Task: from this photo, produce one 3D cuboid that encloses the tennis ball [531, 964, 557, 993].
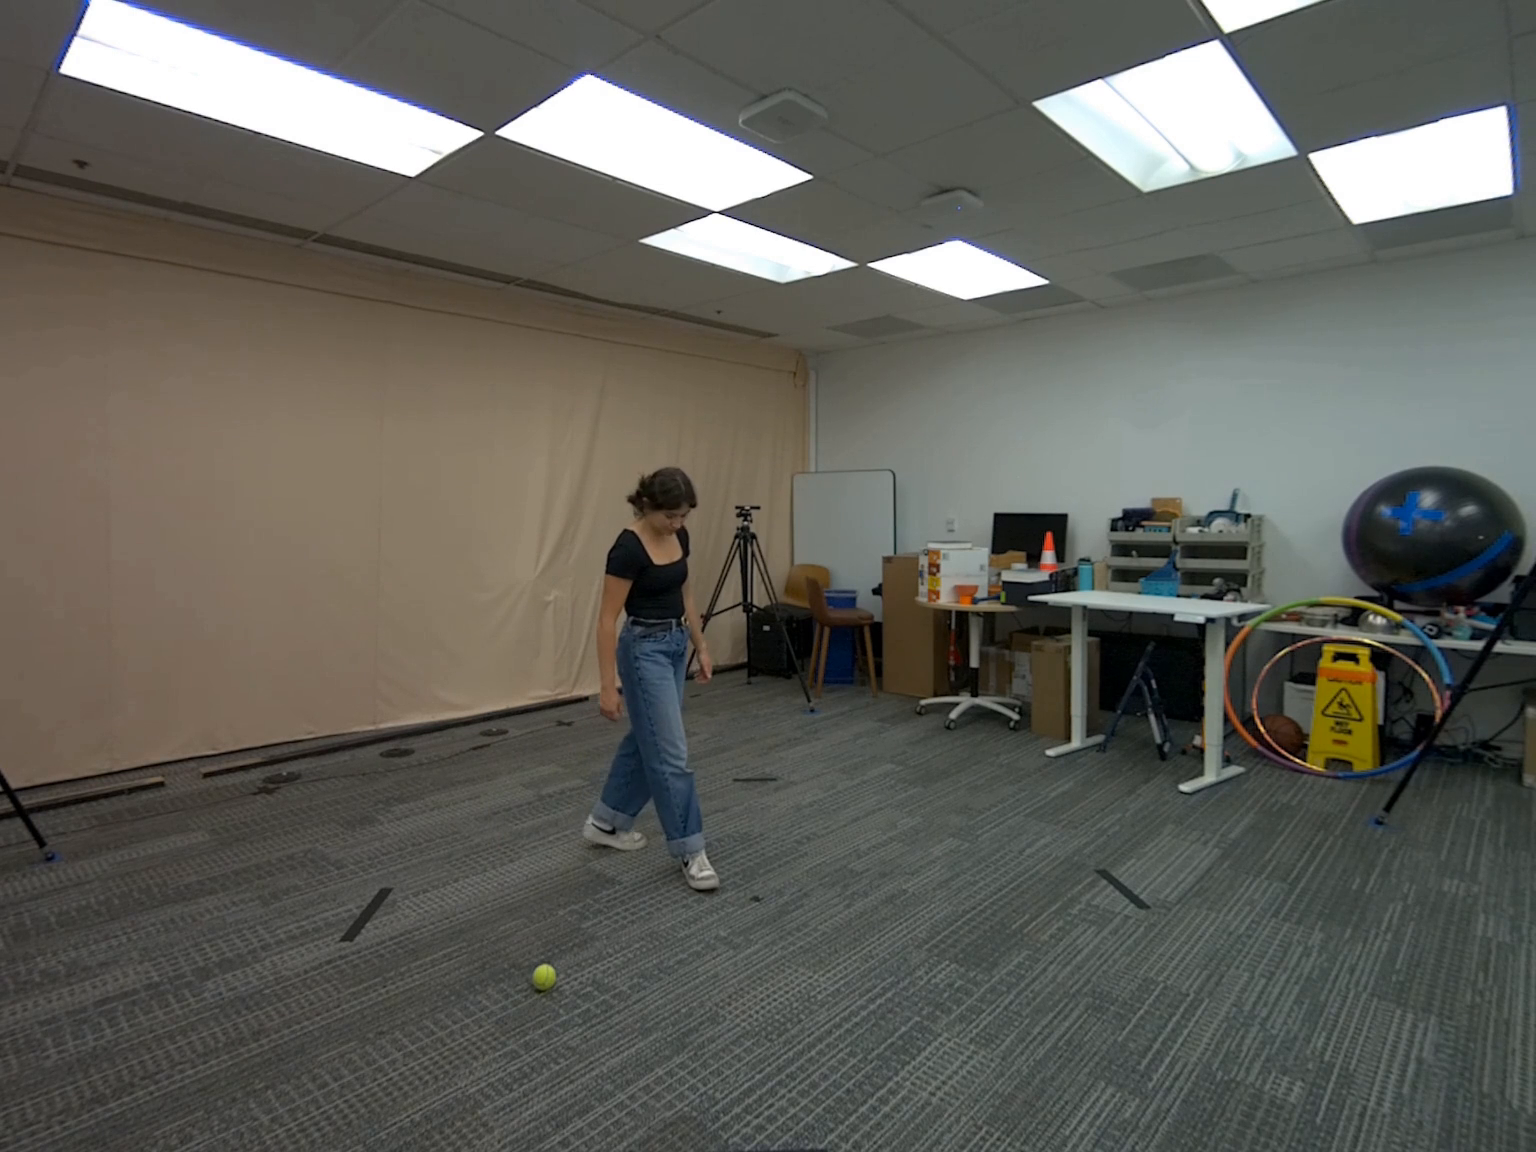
[{"bbox_3d":[-0.651,1.153,2.440,0.066,0.066,0.067,0,4,-2],"label":"tennis ball"}]
